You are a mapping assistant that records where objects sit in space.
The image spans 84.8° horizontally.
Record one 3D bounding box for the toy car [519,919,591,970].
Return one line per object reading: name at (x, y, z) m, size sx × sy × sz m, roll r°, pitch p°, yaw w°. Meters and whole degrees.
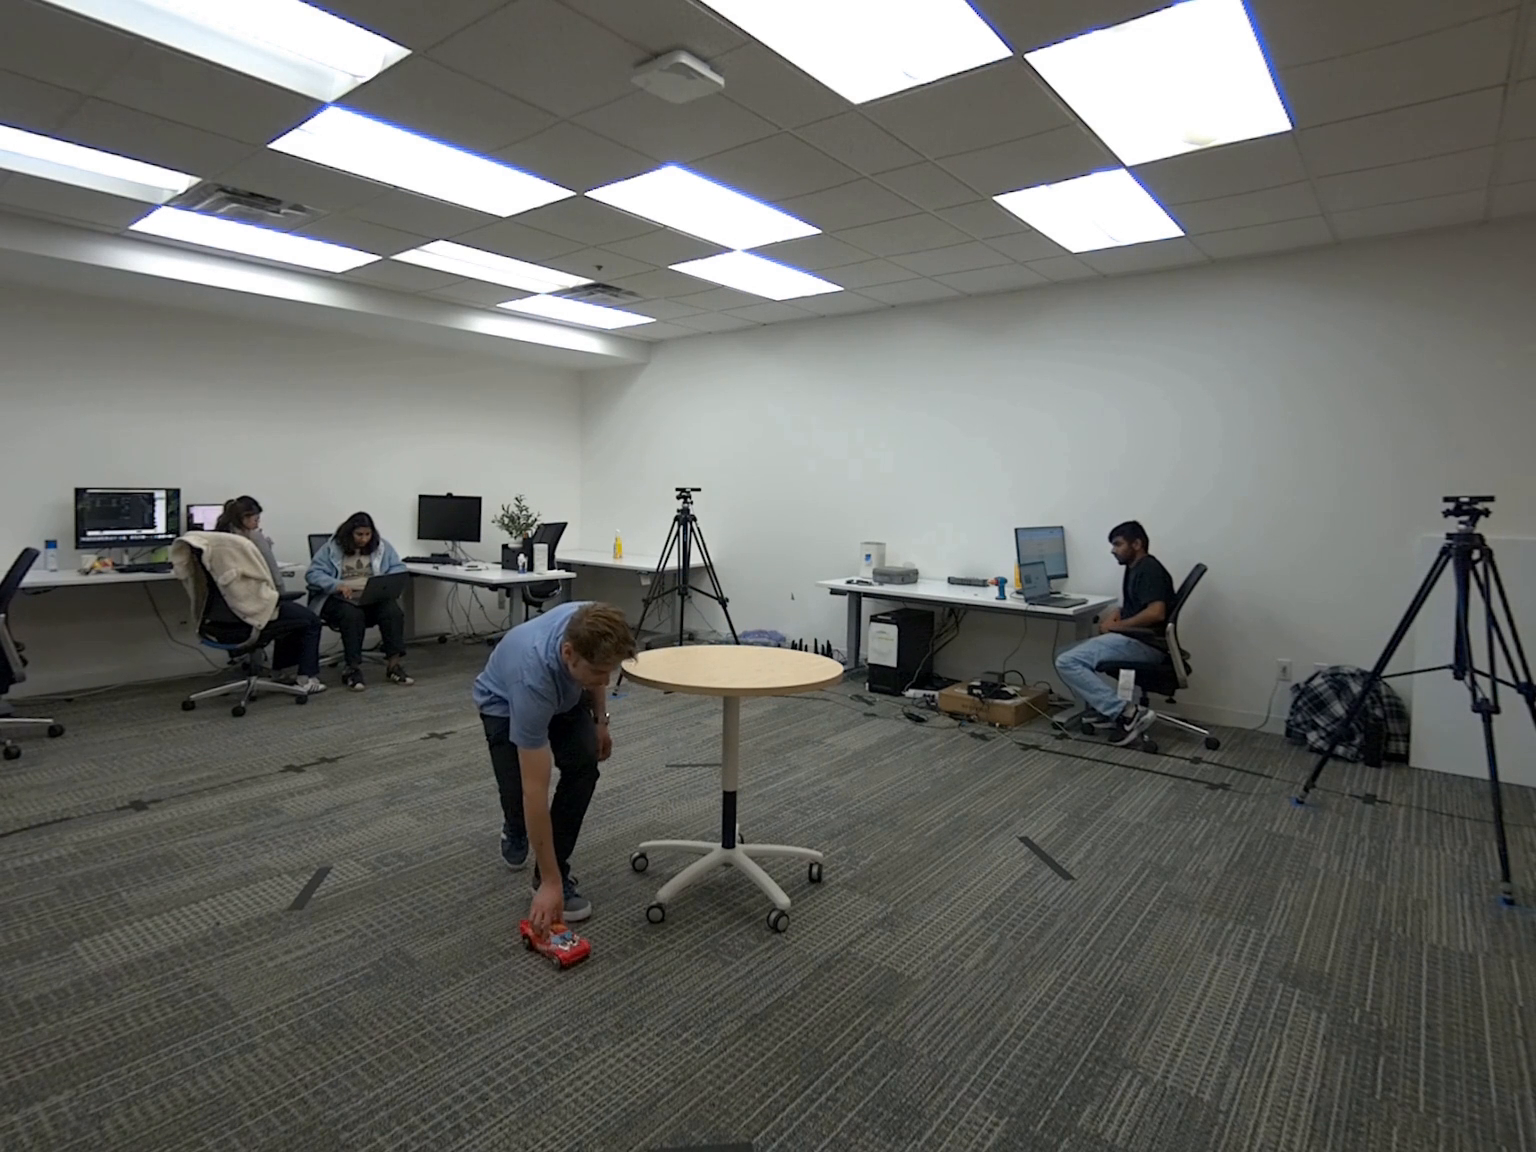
toy car at (-0.652, 1.087, 2.549) m, size 0.265 × 0.082 × 0.126 m, roll 20°, pitch 17°, yaw 41°
